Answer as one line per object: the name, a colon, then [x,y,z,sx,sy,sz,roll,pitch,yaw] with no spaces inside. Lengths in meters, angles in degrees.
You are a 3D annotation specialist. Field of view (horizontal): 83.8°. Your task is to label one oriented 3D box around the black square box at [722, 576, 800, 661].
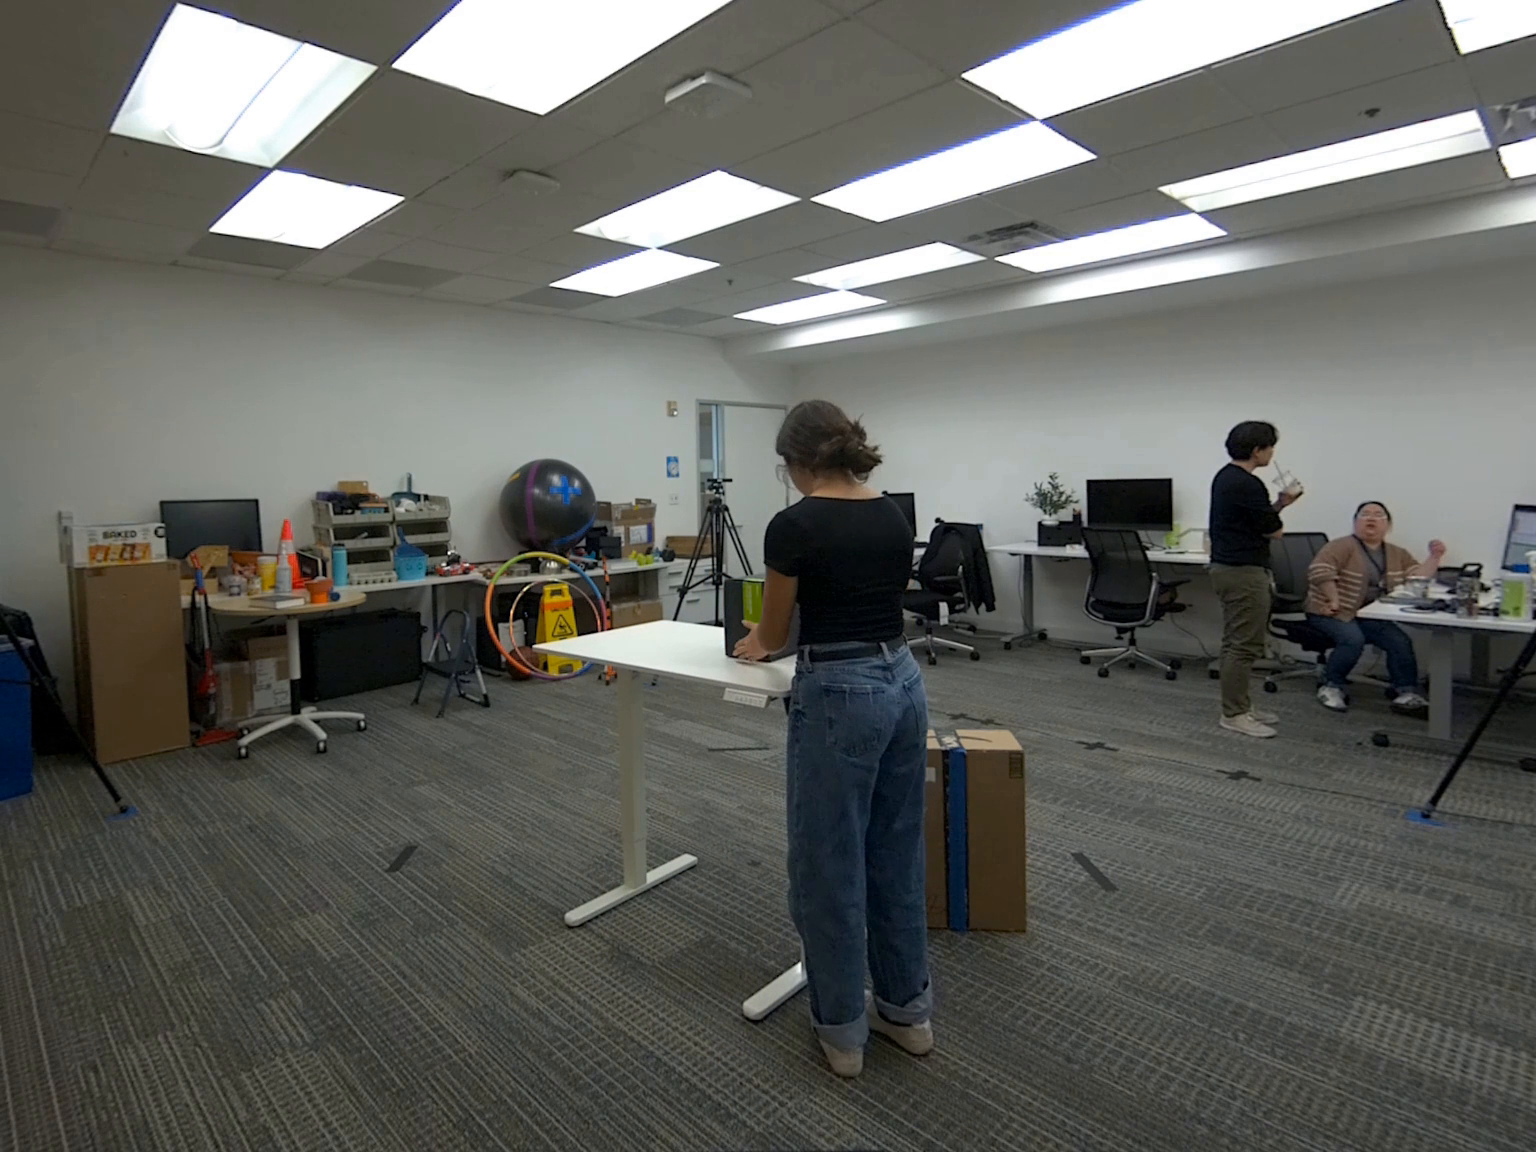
black square box: [0.003,0.115,2.501,0.160,0.227,0.211,2,6,41]
